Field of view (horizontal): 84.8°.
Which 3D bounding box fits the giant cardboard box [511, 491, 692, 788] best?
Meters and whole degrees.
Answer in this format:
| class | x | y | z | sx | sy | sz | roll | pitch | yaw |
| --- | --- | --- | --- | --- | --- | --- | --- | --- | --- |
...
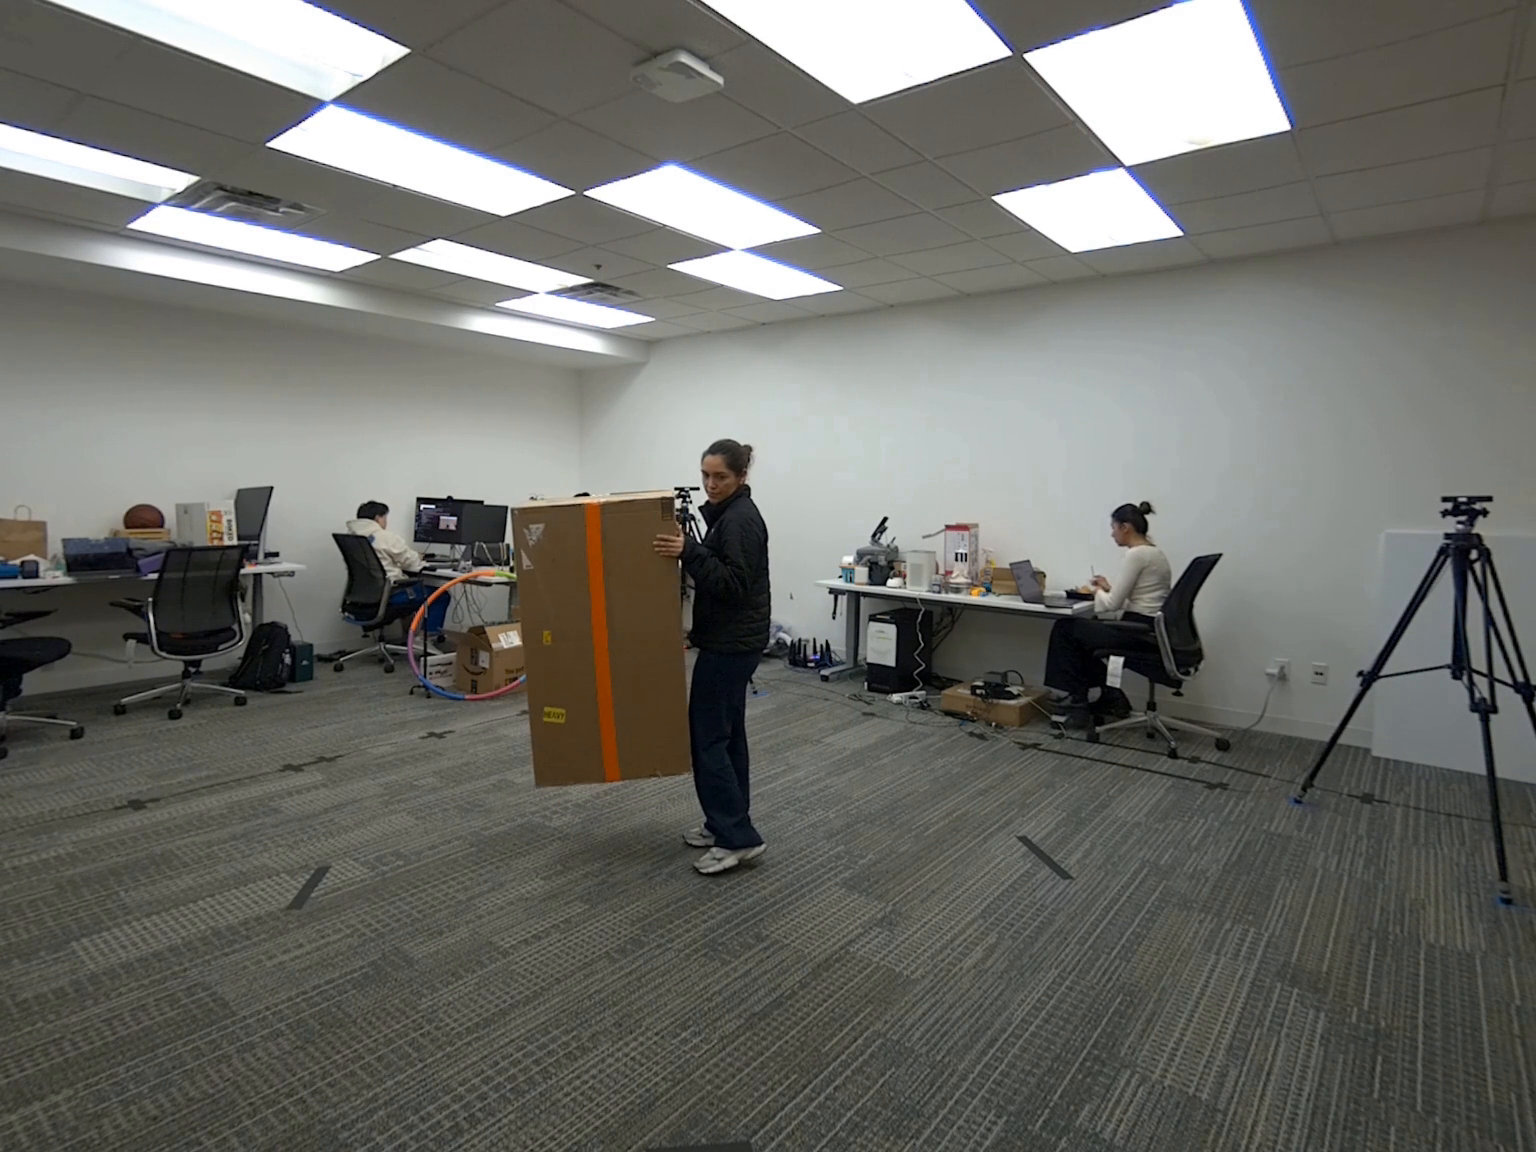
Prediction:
| class | x | y | z | sx | sy | sz | roll | pitch | yaw |
| --- | --- | --- | --- | --- | --- | --- | --- | --- | --- |
| giant cardboard box | -0.604 | 0.214 | 3.255 | 0.576 | 1.019 | 0.430 | -3 | 6 | -3 |
